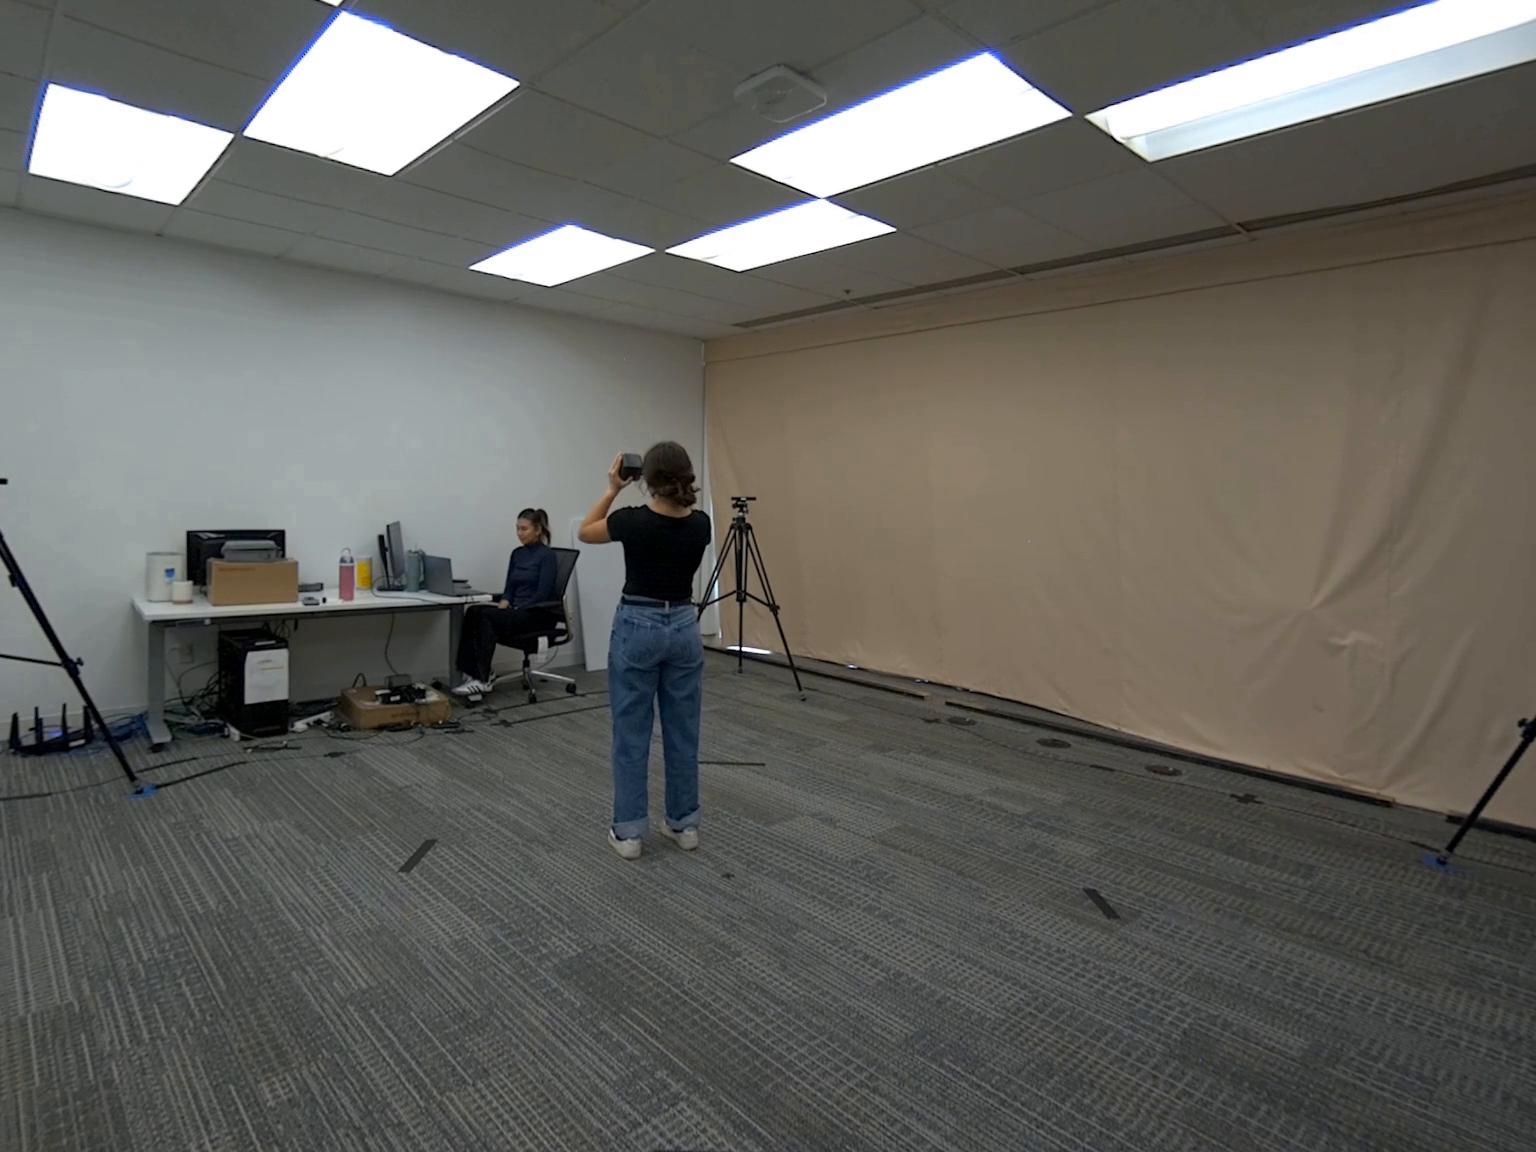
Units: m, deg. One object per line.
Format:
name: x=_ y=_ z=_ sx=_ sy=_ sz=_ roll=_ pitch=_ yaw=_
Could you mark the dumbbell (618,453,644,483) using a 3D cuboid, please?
dumbbell: x=-0.465 y=-0.440 z=3.403 sx=0.288 sy=0.125 sz=0.108 roll=0 pitch=-27 yaw=-26
